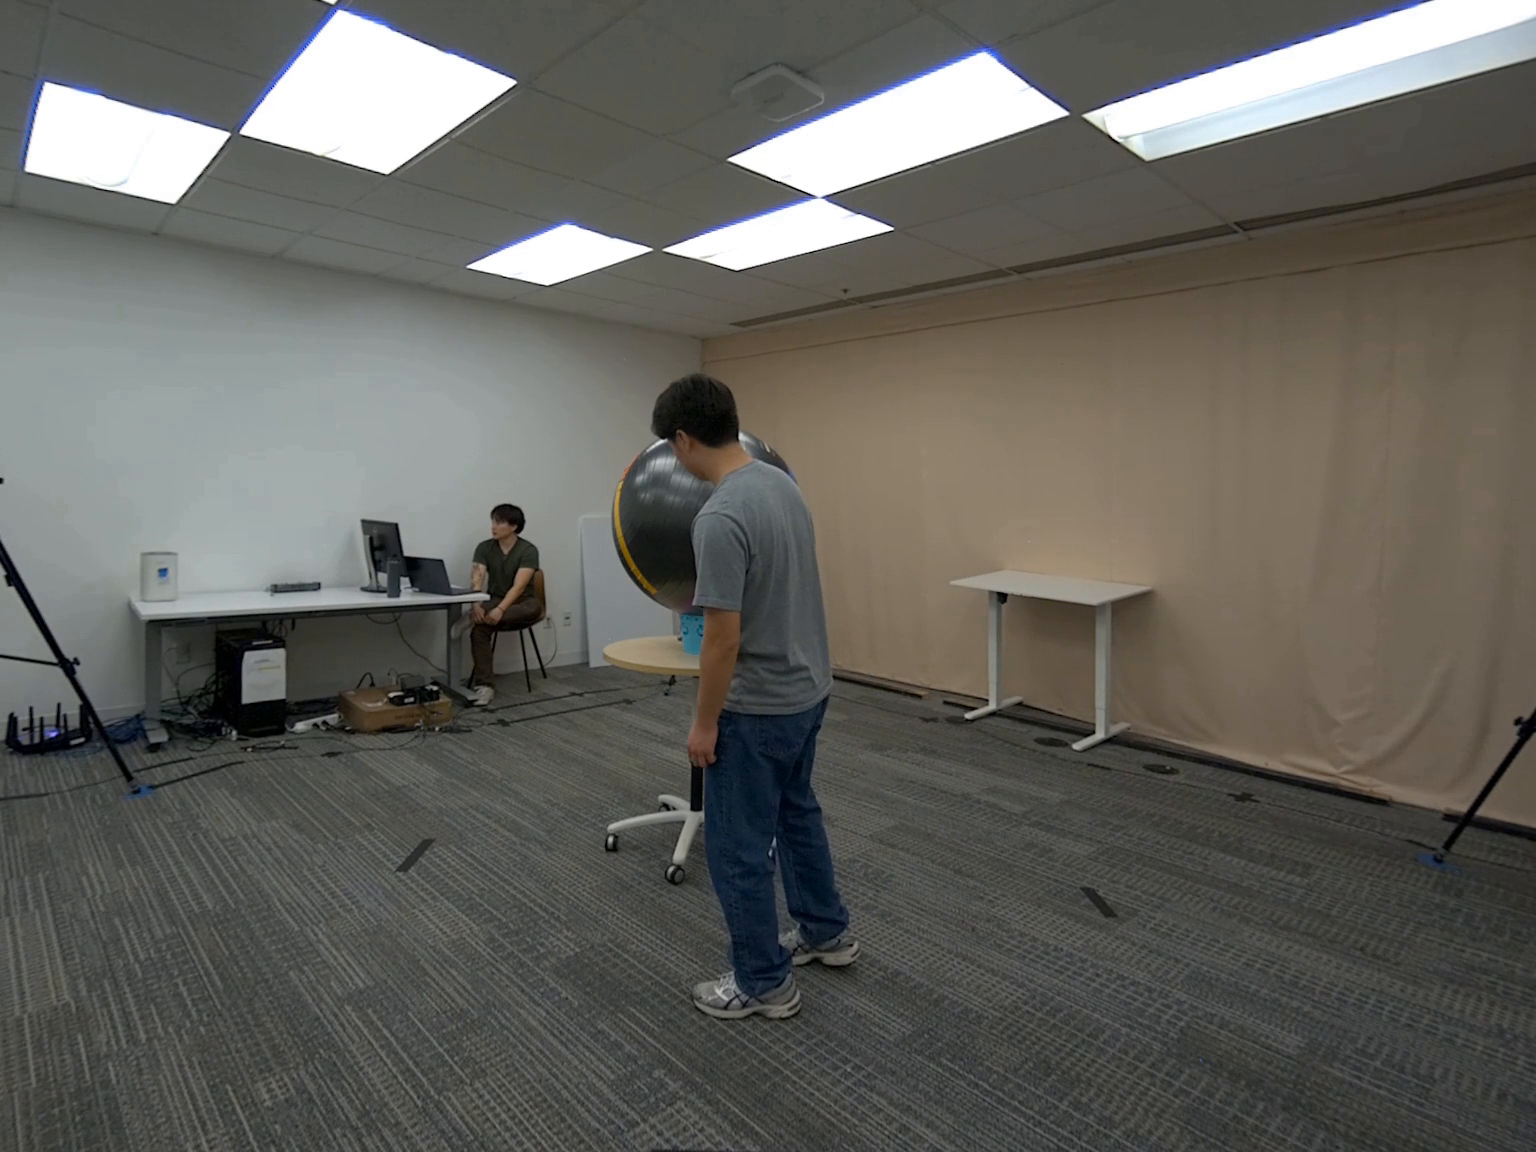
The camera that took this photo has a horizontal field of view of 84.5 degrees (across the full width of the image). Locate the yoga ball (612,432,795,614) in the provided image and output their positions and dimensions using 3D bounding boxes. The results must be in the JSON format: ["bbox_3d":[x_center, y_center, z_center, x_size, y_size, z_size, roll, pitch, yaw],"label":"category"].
[{"bbox_3d":[-0.244,-0.213,3.335,0.757,0.756,0.761,1,4,-1],"label":"yoga ball"}]
